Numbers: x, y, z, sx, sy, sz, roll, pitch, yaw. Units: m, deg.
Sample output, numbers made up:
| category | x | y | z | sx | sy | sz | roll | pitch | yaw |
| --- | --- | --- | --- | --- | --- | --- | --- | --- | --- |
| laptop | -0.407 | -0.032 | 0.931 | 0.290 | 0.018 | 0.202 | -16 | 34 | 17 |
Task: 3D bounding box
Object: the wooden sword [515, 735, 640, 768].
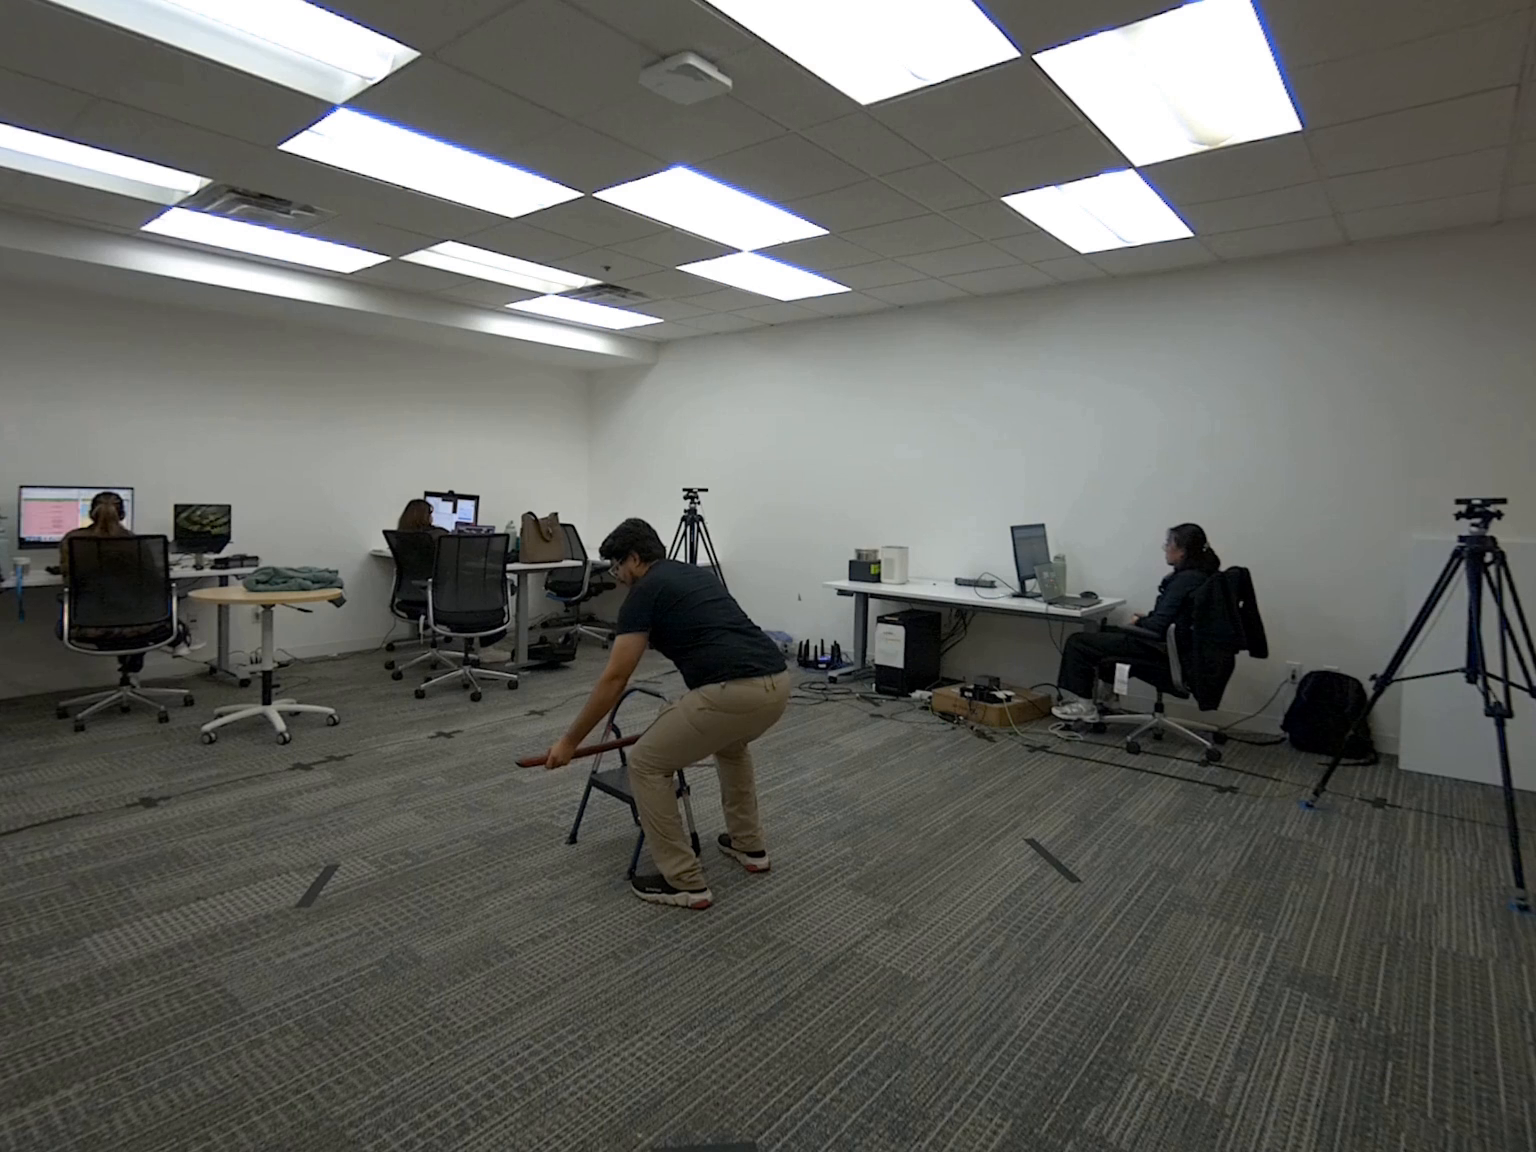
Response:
| category | x | y | z | sx | sy | sz | roll | pitch | yaw |
| --- | --- | --- | --- | --- | --- | --- | --- | --- | --- |
| wooden sword | -0.550 | 0.601 | 3.123 | 0.053 | 0.024 | 0.993 | 25 | 15 | 35 |
